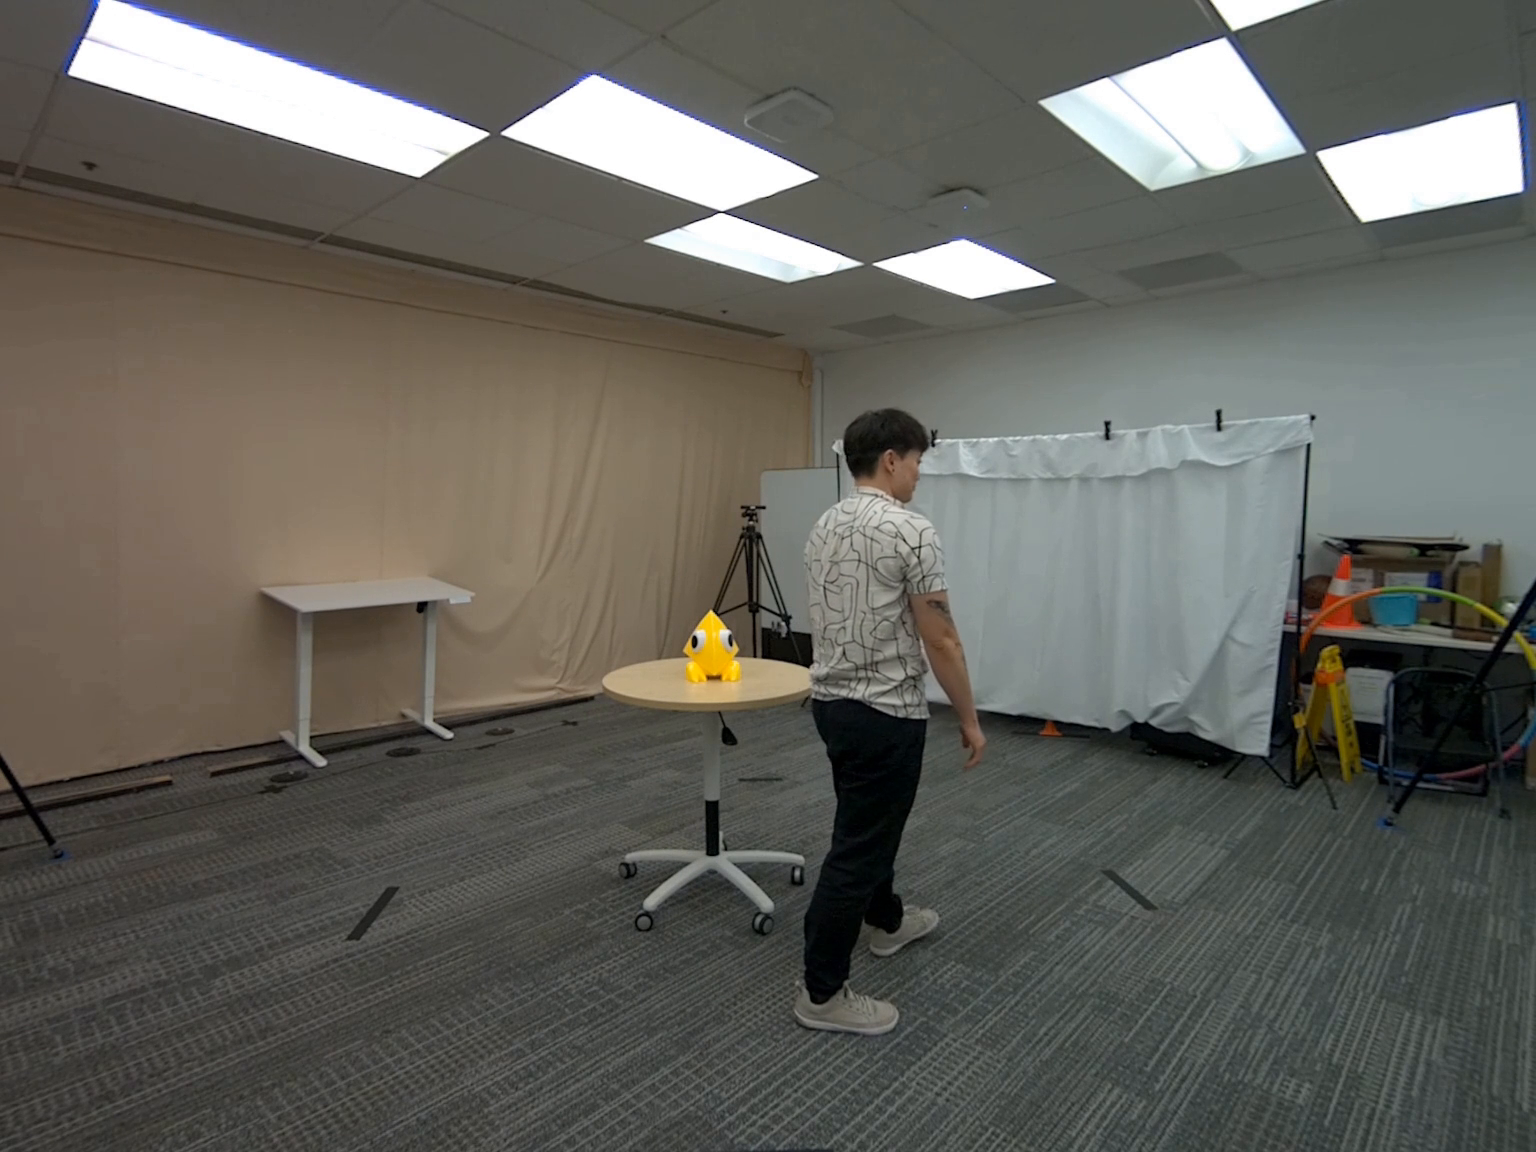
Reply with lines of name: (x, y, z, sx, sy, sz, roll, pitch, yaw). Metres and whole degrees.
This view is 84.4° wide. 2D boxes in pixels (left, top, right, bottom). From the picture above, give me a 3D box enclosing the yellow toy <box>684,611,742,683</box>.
yellow toy: (-0.193, 0.247, 2.996, 0.204, 0.230, 0.194, -1, 4, -6)
